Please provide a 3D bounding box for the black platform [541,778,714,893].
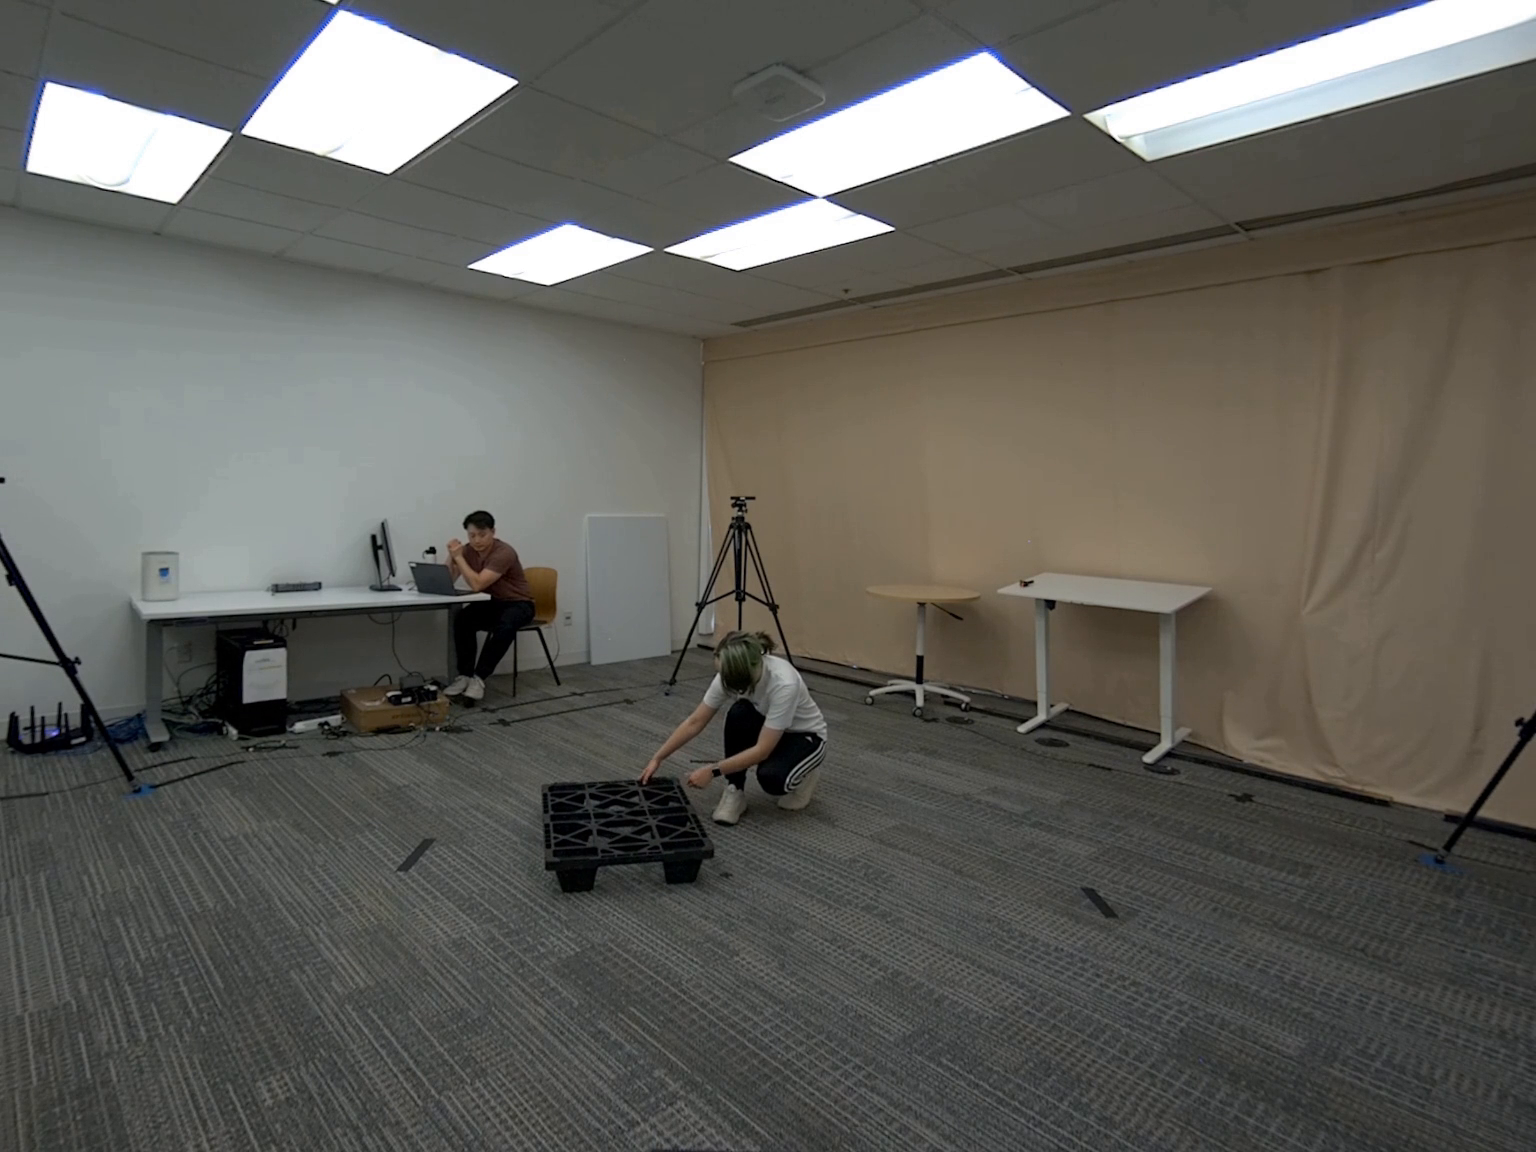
[{"bbox_3d":[-0.598,1.004,3.328,0.598,0.143,0.817,-1,5,-15],"label":"black platform"}]
